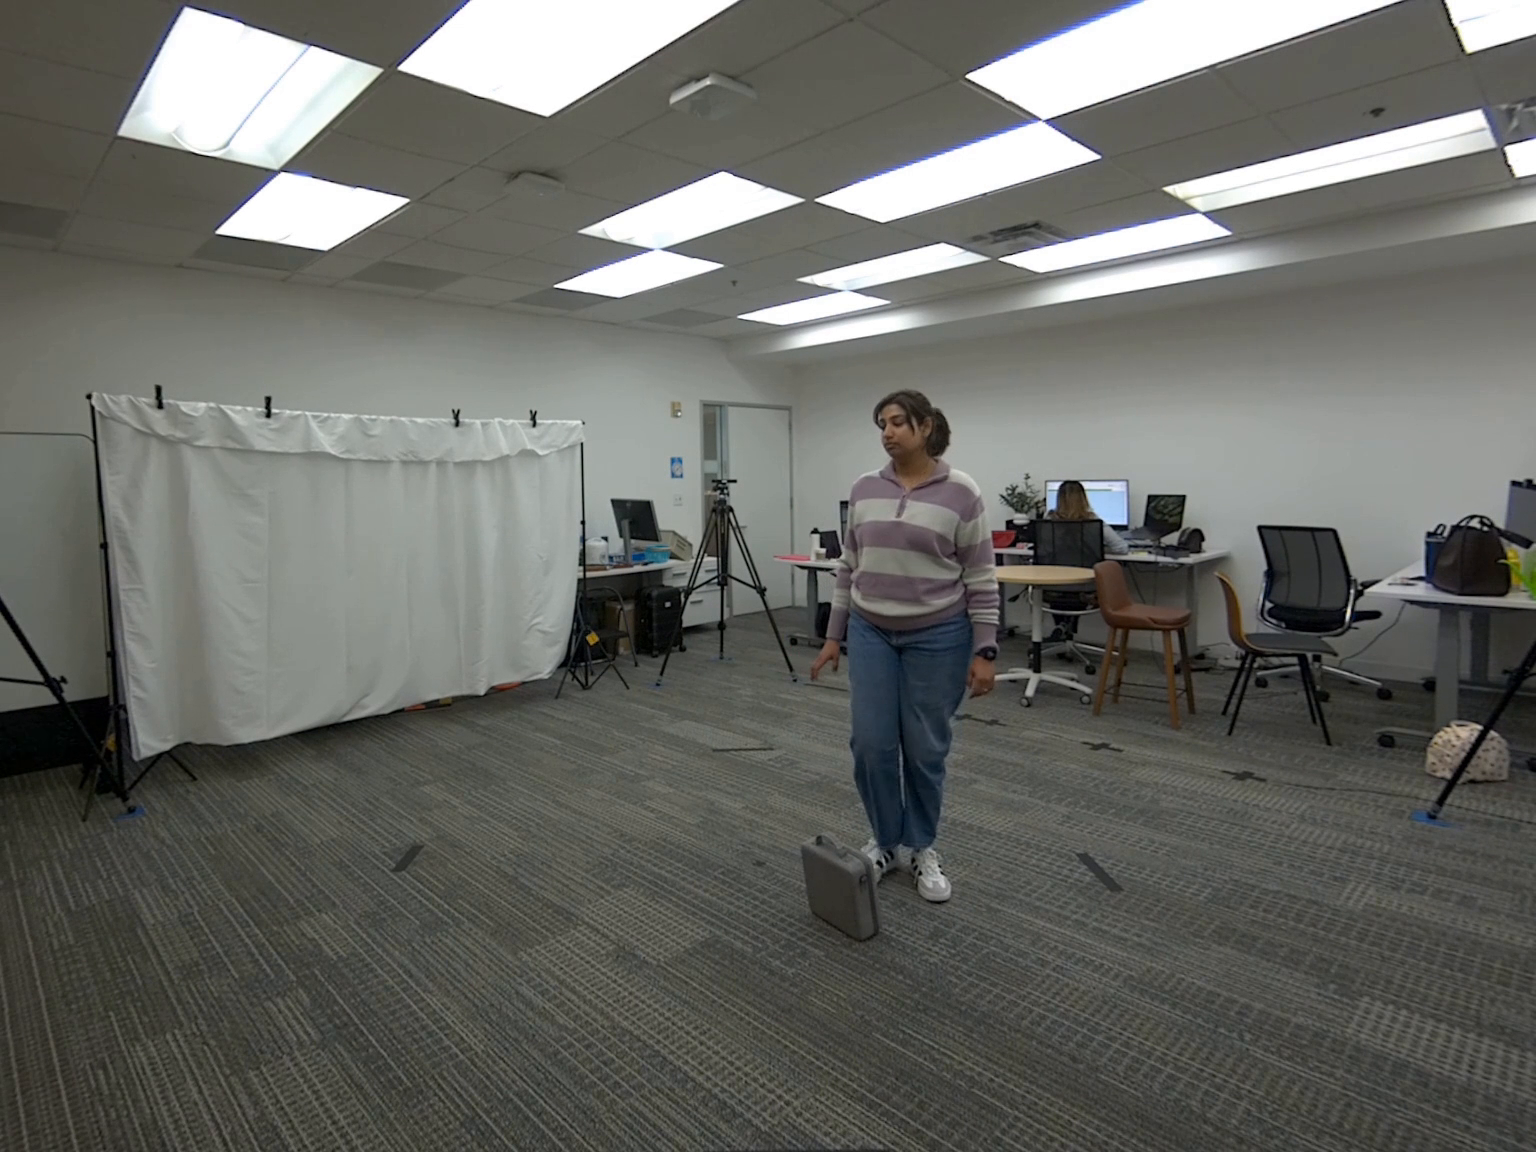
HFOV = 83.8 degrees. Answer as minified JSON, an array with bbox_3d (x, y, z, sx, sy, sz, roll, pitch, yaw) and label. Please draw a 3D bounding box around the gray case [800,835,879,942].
[{"bbox_3d":[0.232,0.961,2.660,0.102,0.258,0.264,-14,11,-33],"label":"gray case"}]
